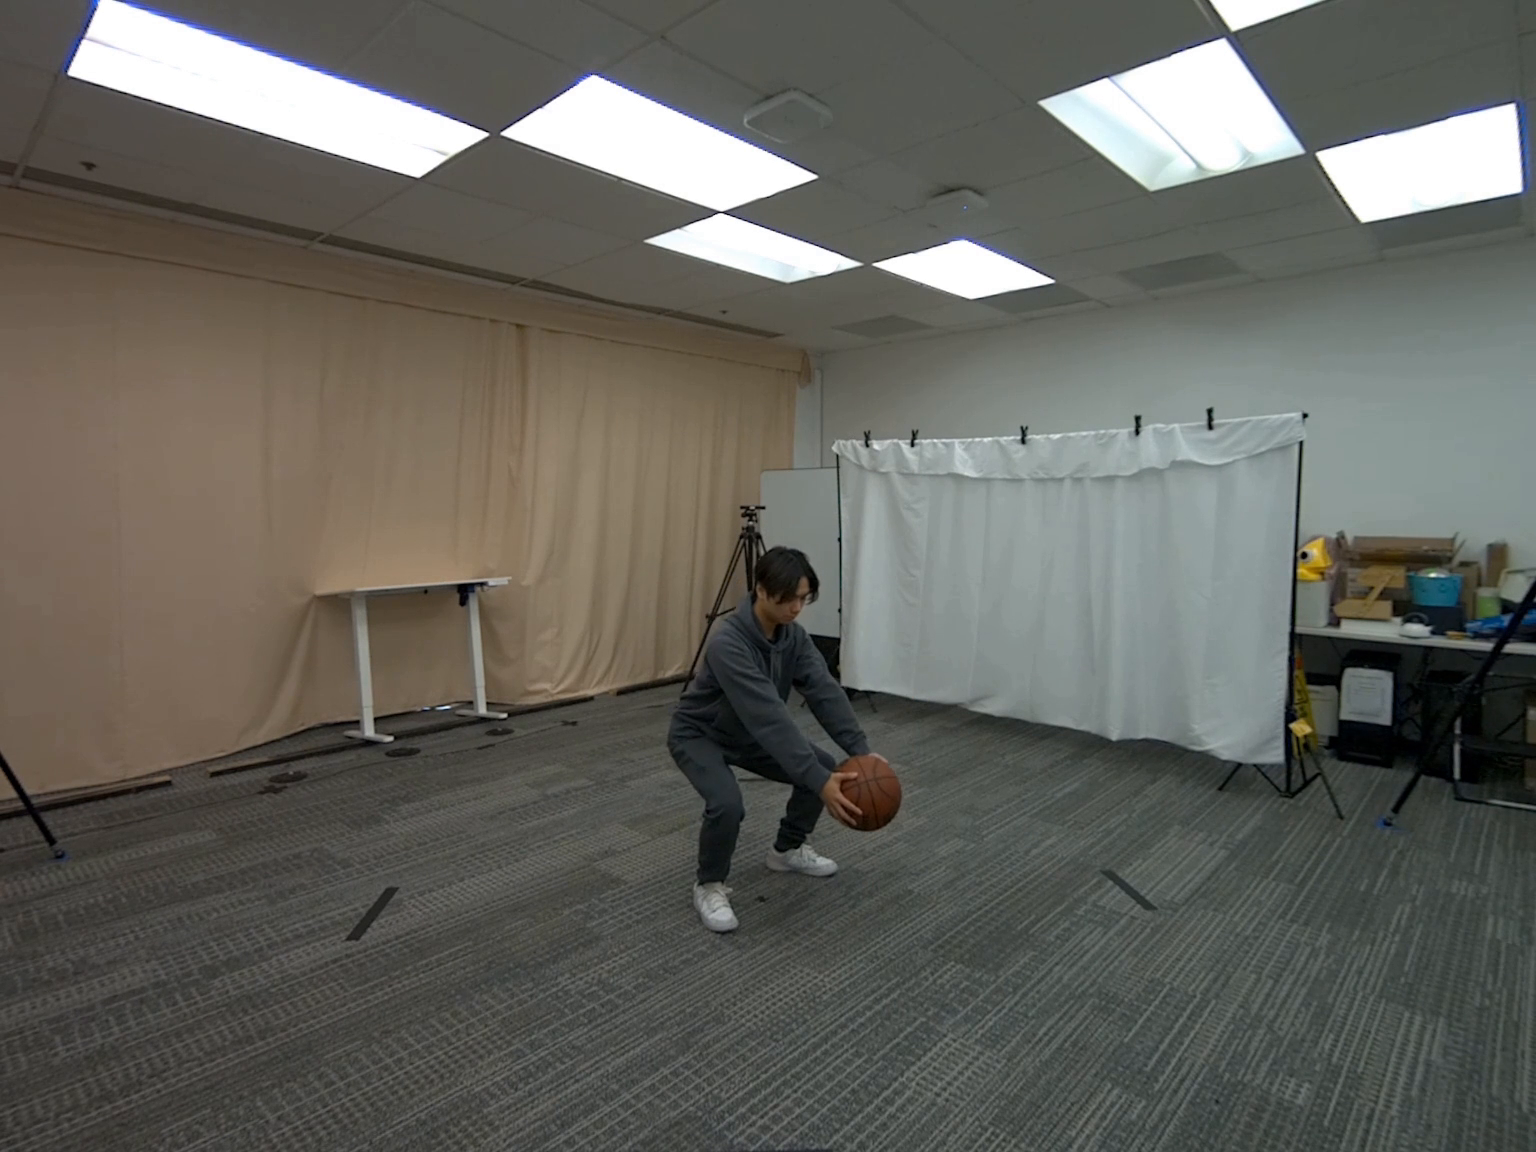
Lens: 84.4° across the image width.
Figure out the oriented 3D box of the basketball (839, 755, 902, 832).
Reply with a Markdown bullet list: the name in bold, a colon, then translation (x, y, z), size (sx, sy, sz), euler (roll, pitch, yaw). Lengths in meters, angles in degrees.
- **basketball**: translation (0.312, 0.700, 2.717), size (0.236, 0.235, 0.237), euler (0, 4, -2)
